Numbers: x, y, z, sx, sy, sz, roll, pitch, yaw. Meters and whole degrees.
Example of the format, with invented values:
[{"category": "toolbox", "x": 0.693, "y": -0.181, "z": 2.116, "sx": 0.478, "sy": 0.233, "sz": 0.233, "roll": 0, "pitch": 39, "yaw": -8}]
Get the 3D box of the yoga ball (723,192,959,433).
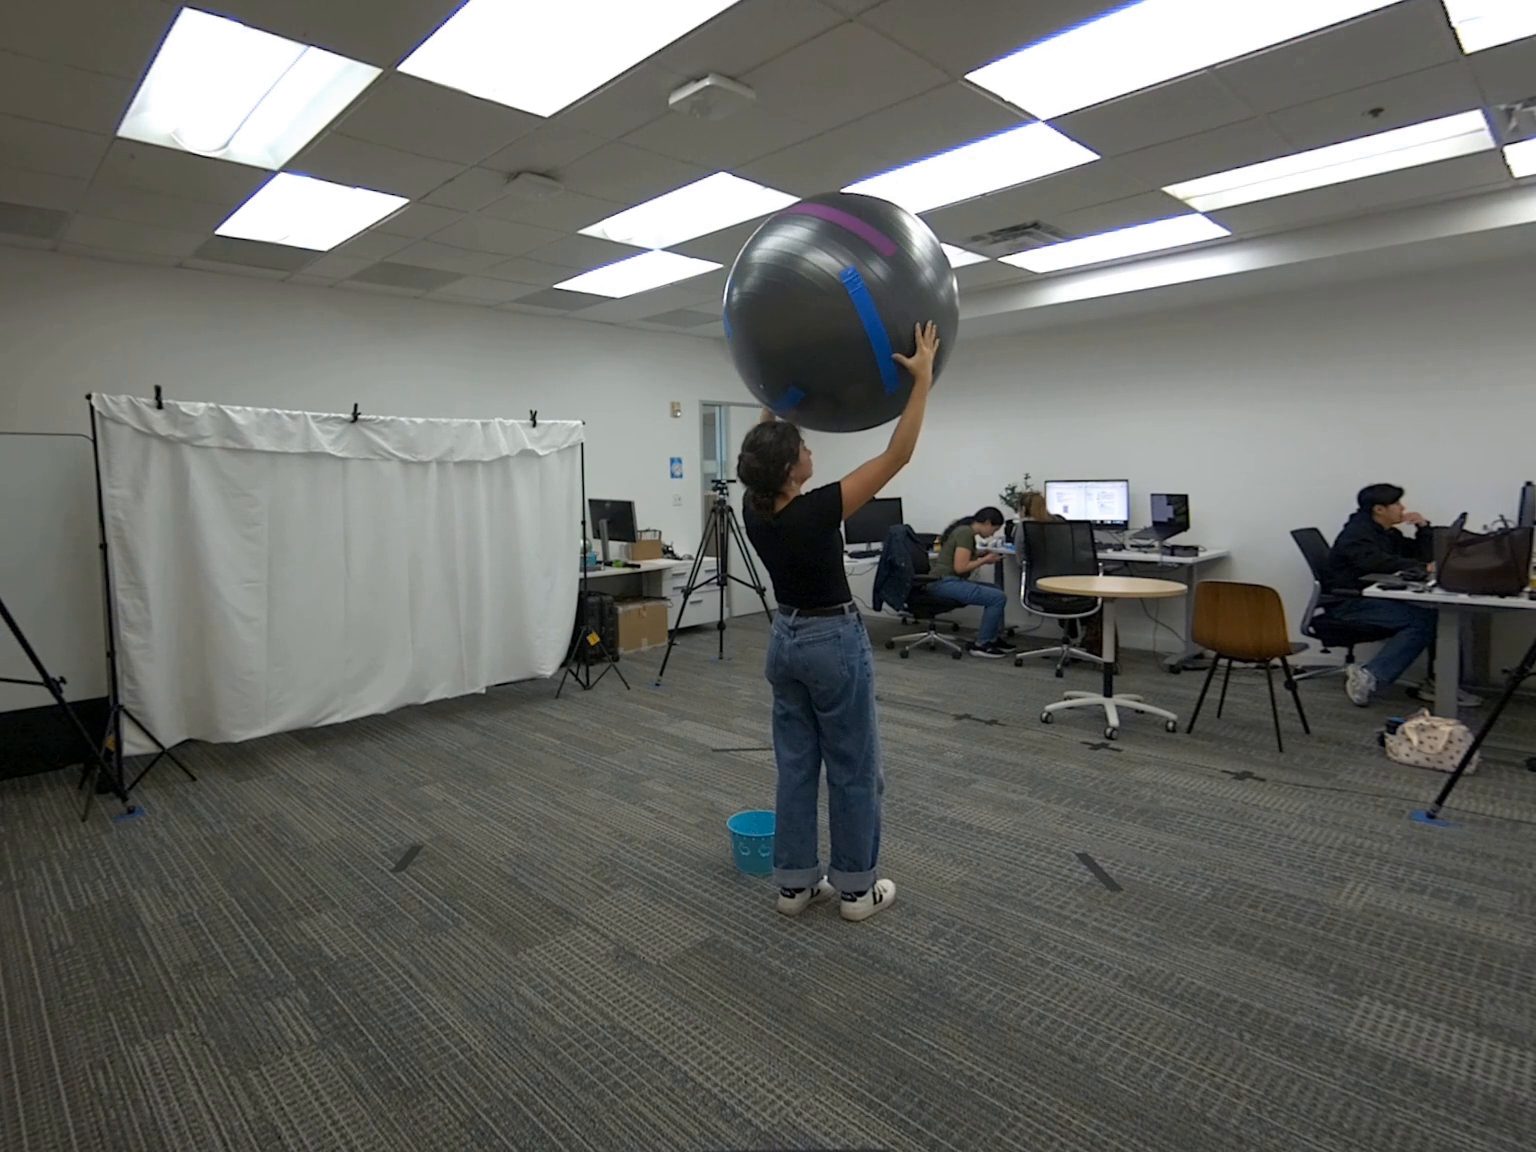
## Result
[{"category": "yoga ball", "x": 0.239, "y": -0.848, "z": 2.789, "sx": 0.757, "sy": 0.755, "sz": 0.762, "roll": -1, "pitch": 5, "yaw": -2}]
